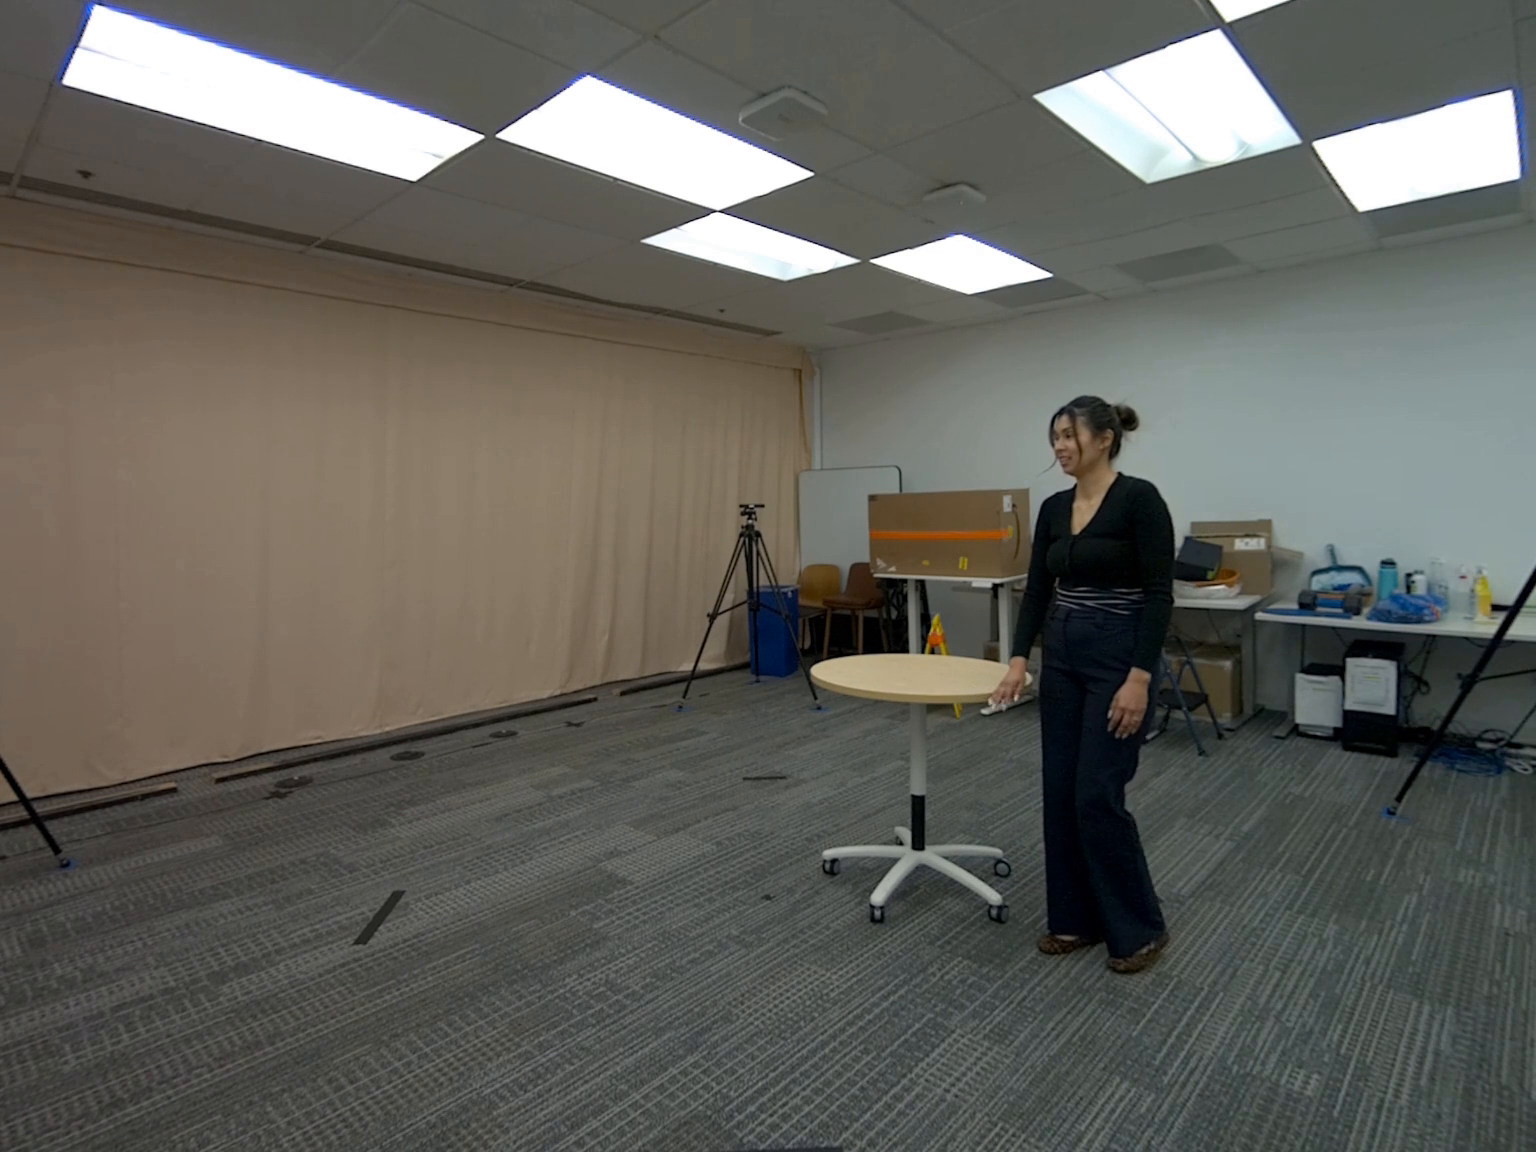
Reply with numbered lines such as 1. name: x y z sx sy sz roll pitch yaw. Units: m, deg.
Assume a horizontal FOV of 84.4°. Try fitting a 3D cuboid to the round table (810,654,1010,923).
1. round table: 0.543 0.736 3.023 0.763 0.792 0.766 -1 4 -2
